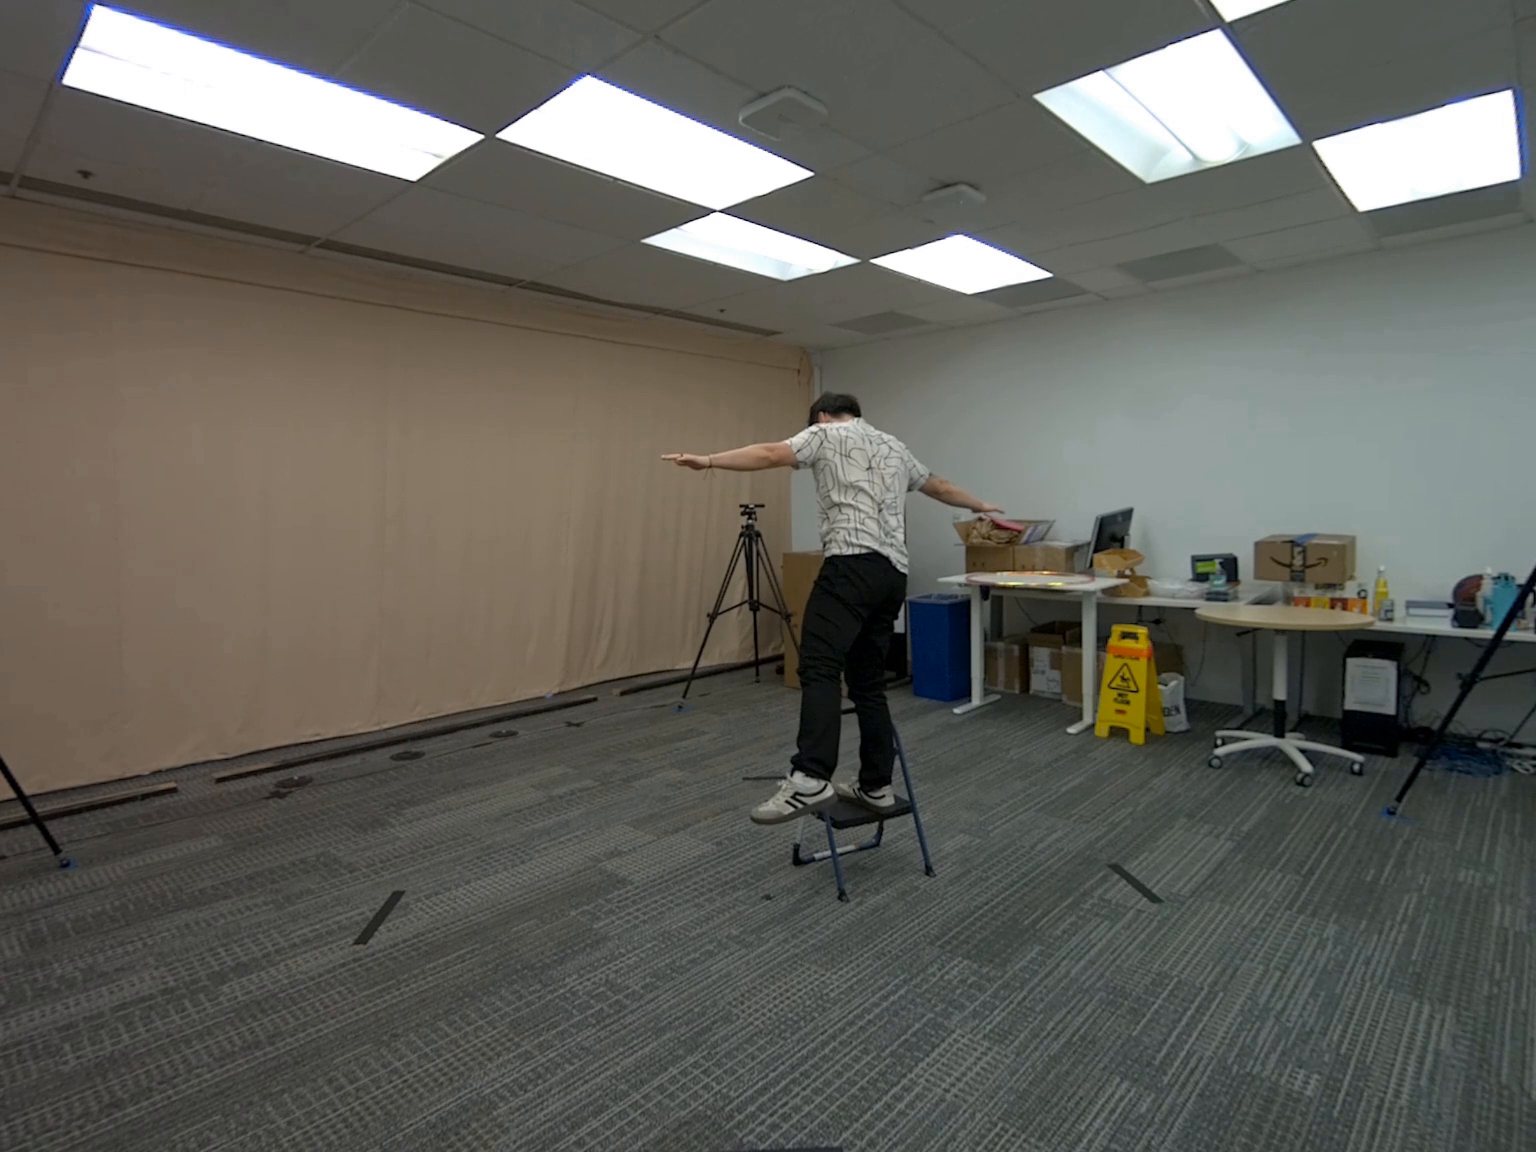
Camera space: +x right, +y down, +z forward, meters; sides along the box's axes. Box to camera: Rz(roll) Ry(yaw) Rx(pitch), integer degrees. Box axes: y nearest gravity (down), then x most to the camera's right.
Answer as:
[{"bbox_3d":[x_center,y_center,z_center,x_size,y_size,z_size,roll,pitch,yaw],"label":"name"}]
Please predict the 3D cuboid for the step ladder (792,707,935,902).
[{"bbox_3d":[0.356,0.813,3.175,0.419,0.605,0.359,-3,4,-30],"label":"step ladder"}]
